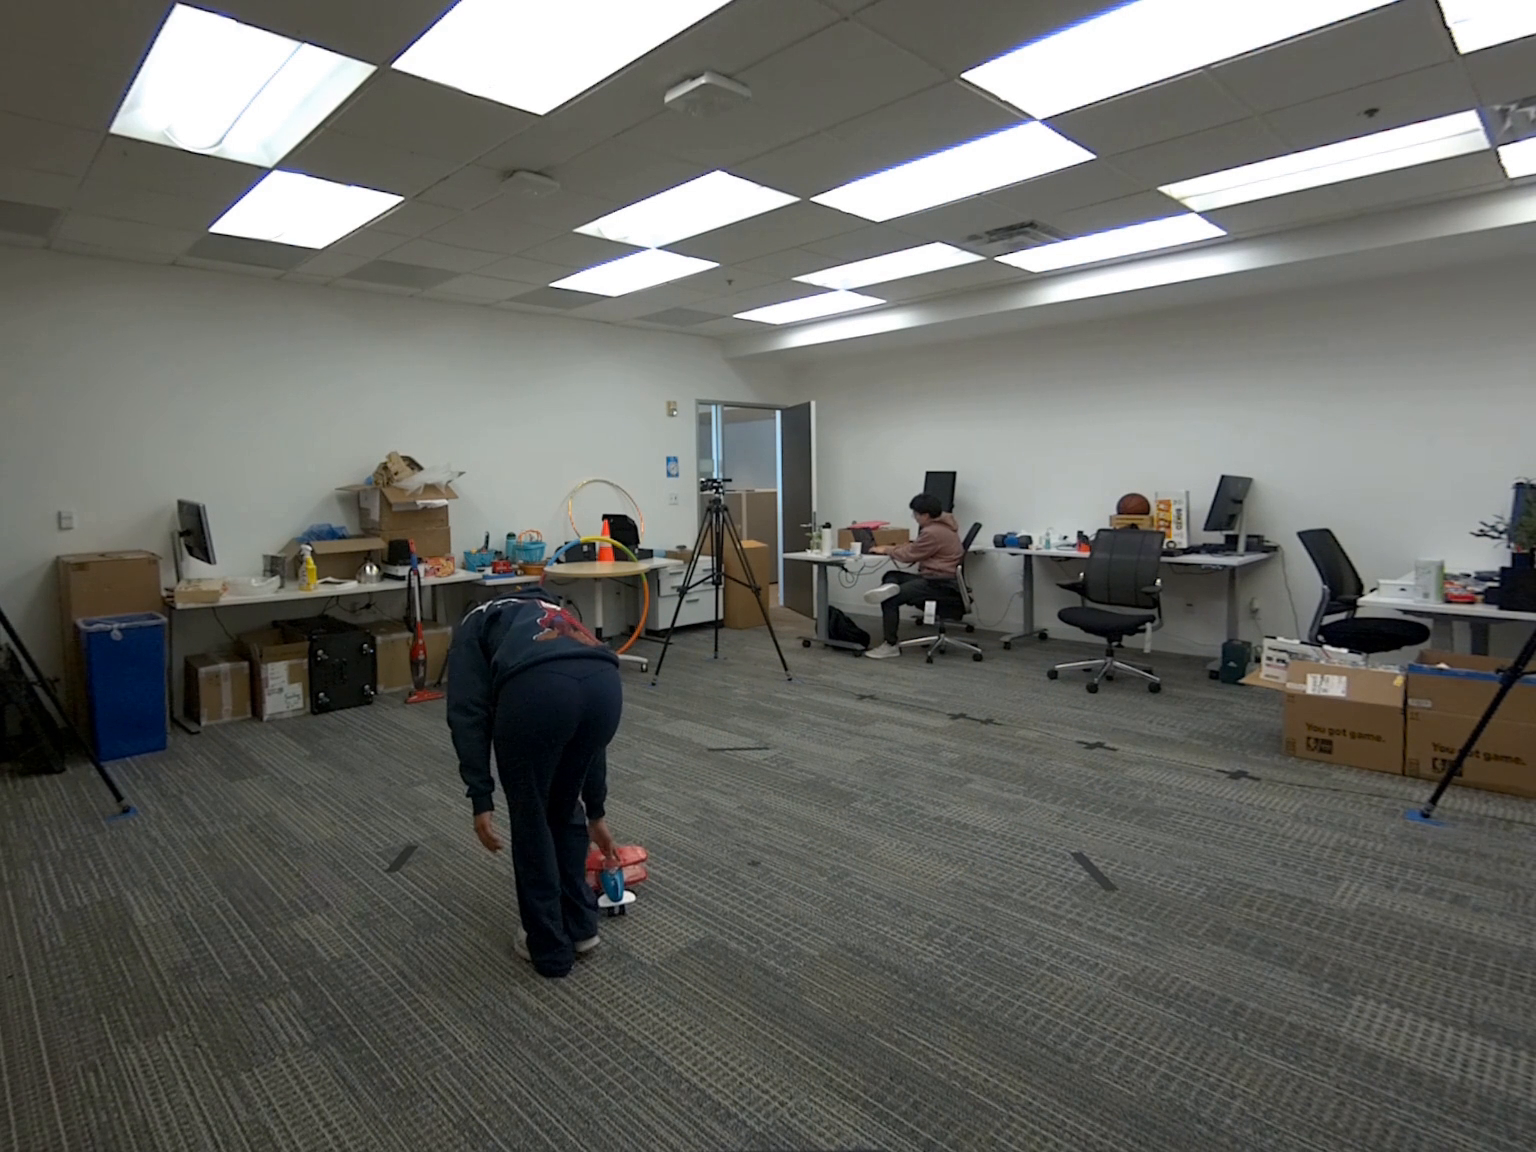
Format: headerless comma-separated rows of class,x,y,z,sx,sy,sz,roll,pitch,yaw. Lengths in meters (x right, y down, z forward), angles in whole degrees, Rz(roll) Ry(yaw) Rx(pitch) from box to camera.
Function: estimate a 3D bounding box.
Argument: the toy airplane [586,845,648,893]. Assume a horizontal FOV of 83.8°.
toy airplane,-0.502,1.008,2.846,0.244,0.156,0.267,-7,8,-44
